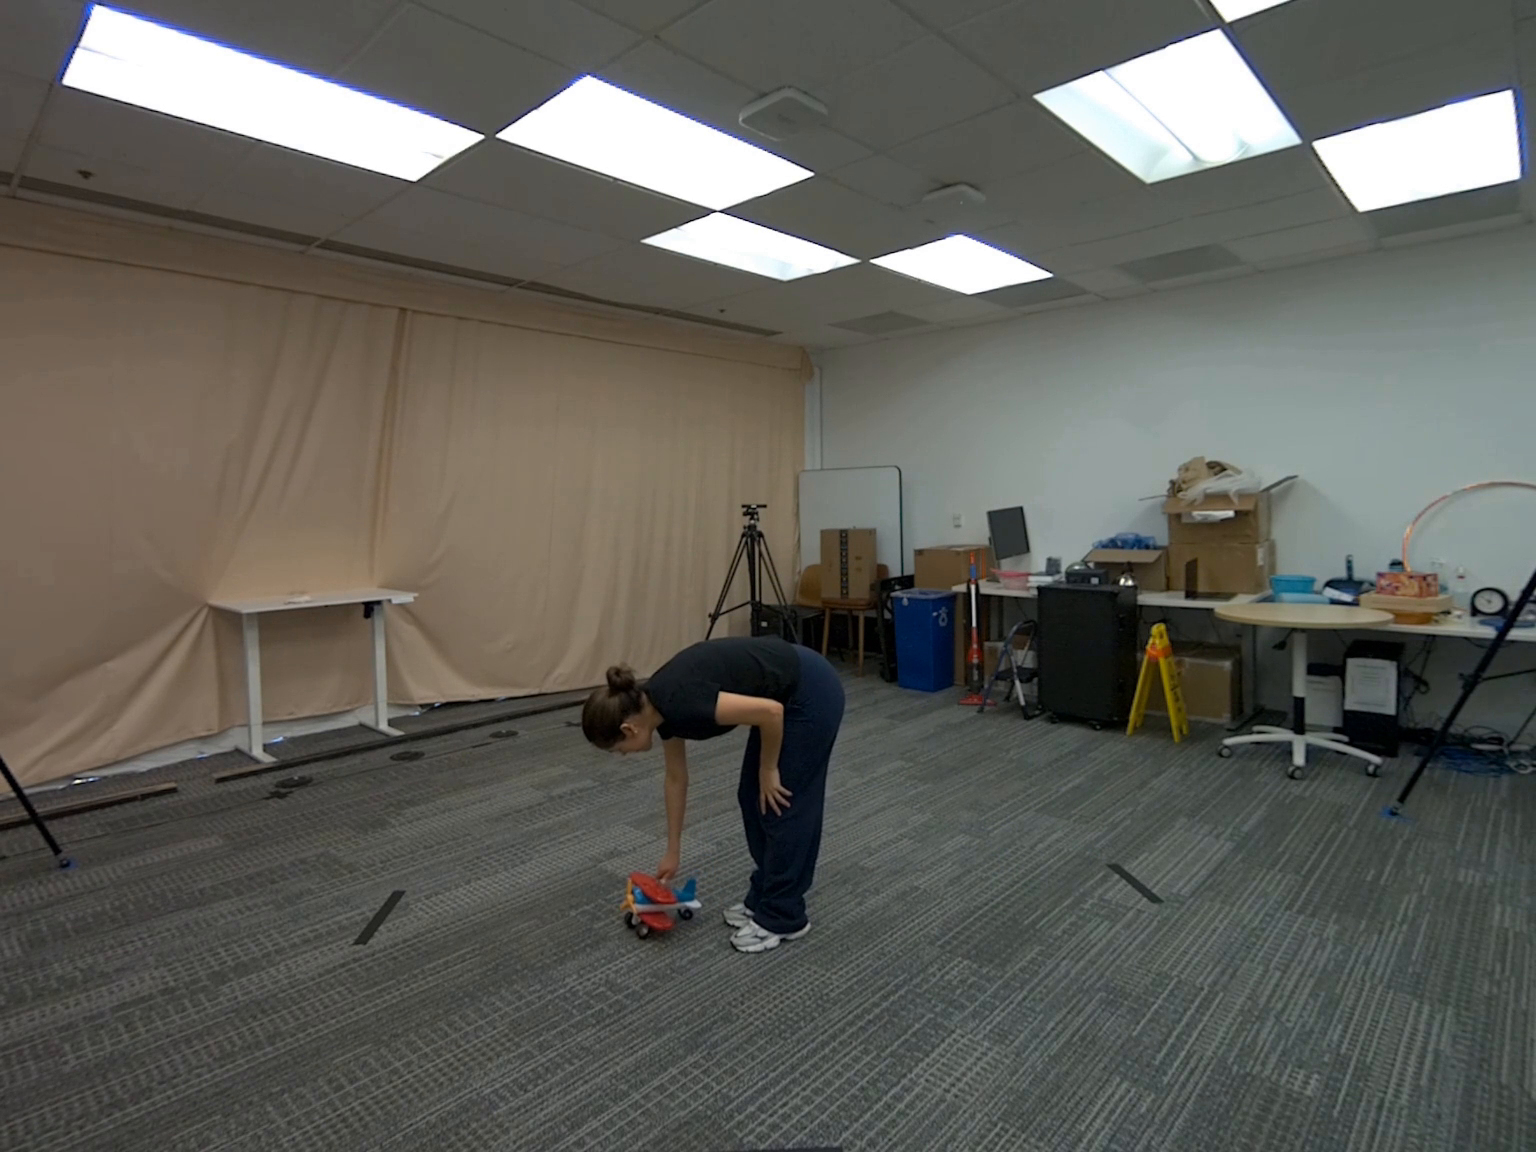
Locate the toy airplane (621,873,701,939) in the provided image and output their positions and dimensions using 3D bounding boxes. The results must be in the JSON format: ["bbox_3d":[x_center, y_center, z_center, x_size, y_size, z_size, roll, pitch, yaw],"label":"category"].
[{"bbox_3d":[-0.347,1.093,2.813,0.258,0.156,0.253,2,7,30],"label":"toy airplane"}]
